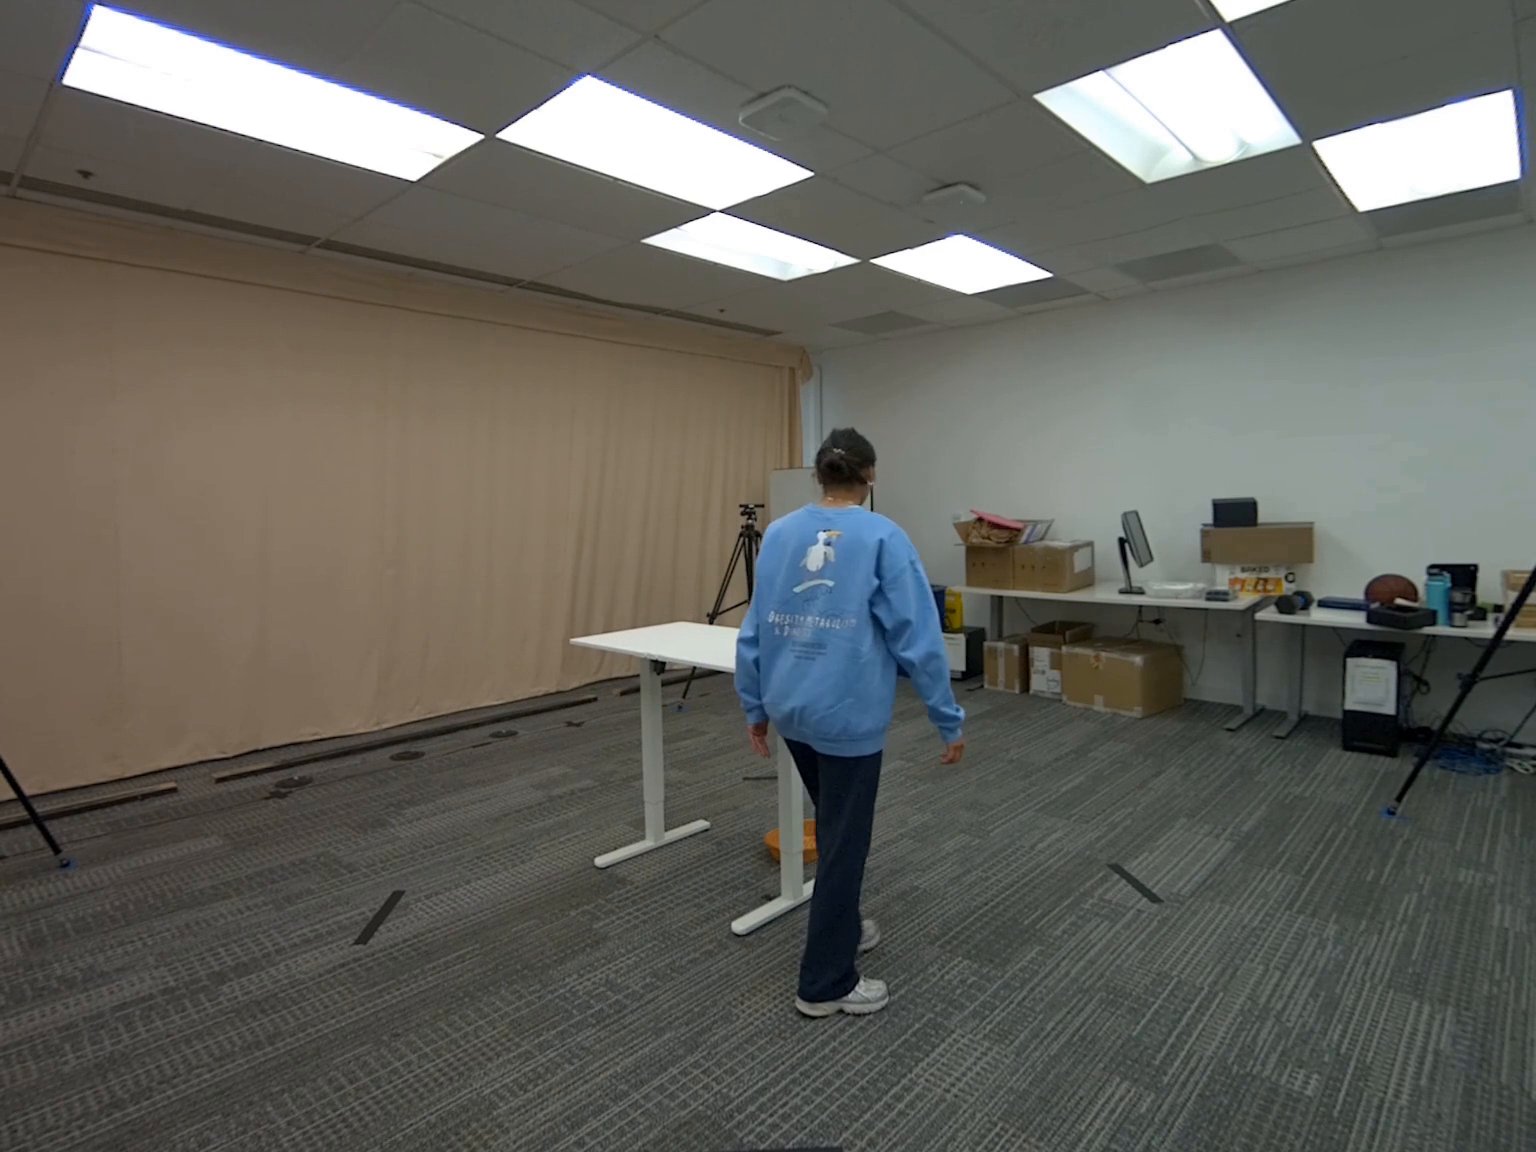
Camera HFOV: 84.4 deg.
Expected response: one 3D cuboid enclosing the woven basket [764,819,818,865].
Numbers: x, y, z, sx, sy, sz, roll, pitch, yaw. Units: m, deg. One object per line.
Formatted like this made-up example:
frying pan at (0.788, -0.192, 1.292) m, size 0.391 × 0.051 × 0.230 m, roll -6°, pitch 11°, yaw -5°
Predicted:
woven basket at (0.142, 1.064, 3.373) m, size 0.261 × 0.073 × 0.340 m, roll 3°, pitch 6°, yaw 44°
